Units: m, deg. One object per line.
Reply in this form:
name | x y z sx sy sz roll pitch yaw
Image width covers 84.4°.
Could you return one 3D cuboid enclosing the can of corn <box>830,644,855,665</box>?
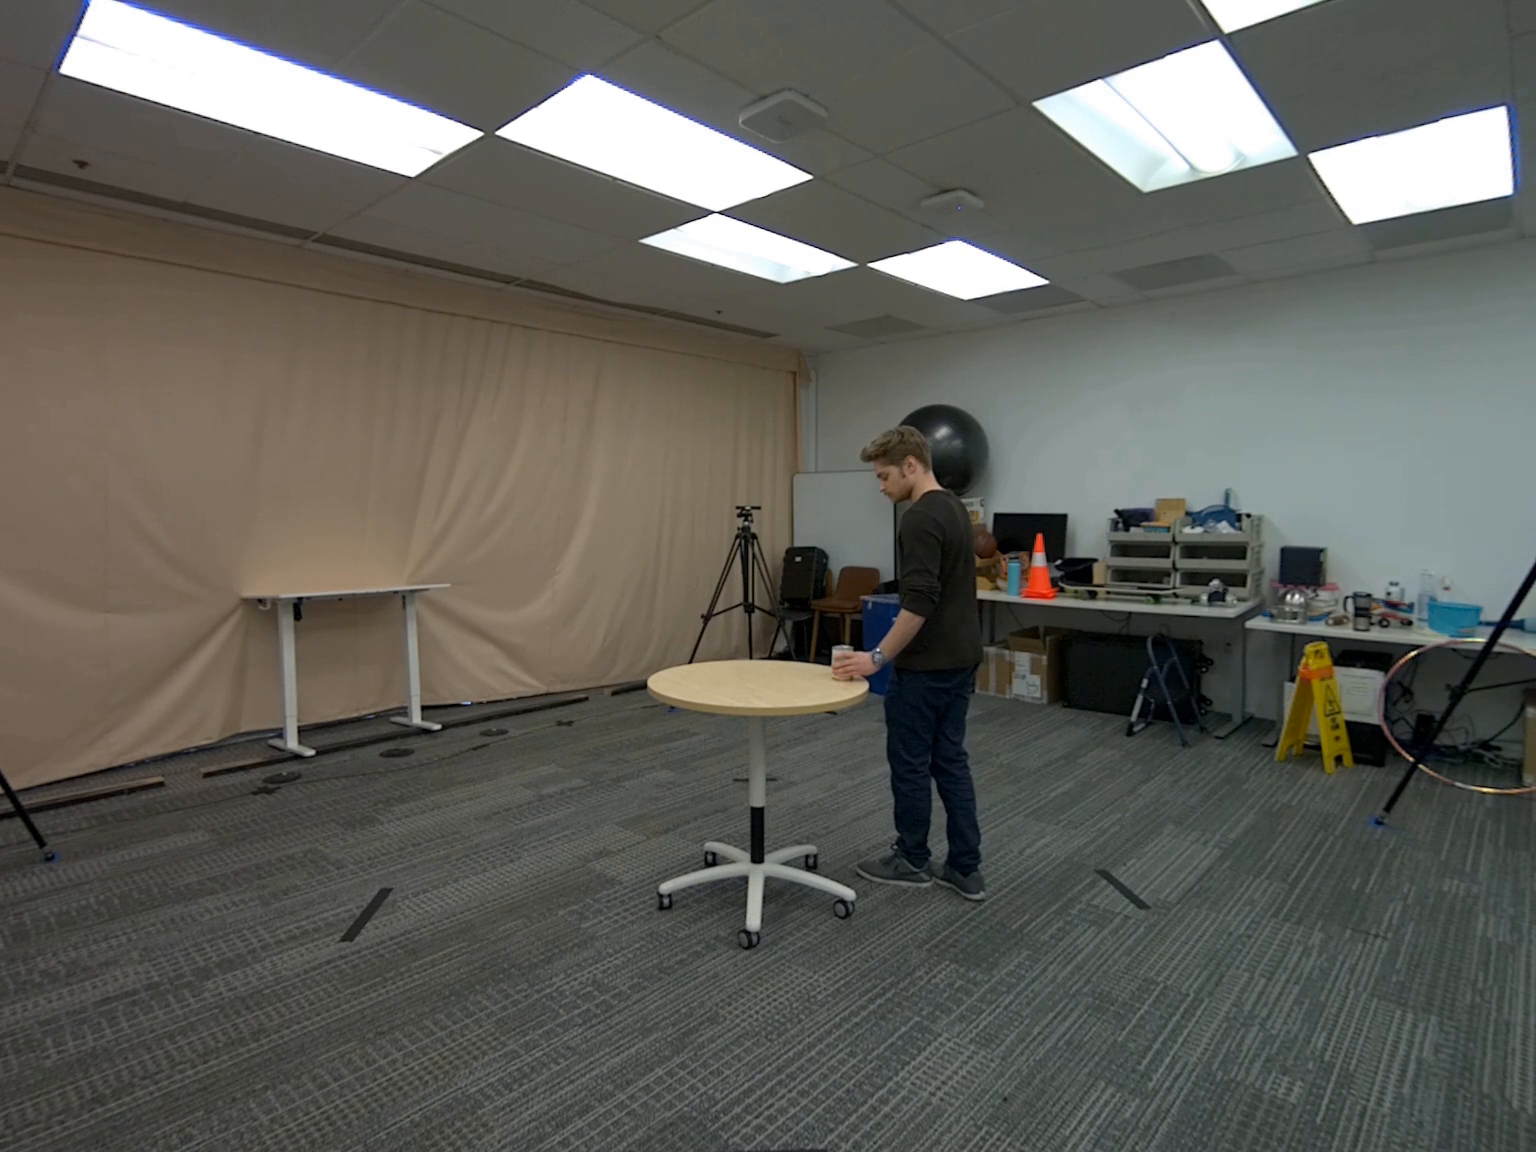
can of corn | 0.274 0.308 2.964 0.074 0.111 0.074 2 3 -2
